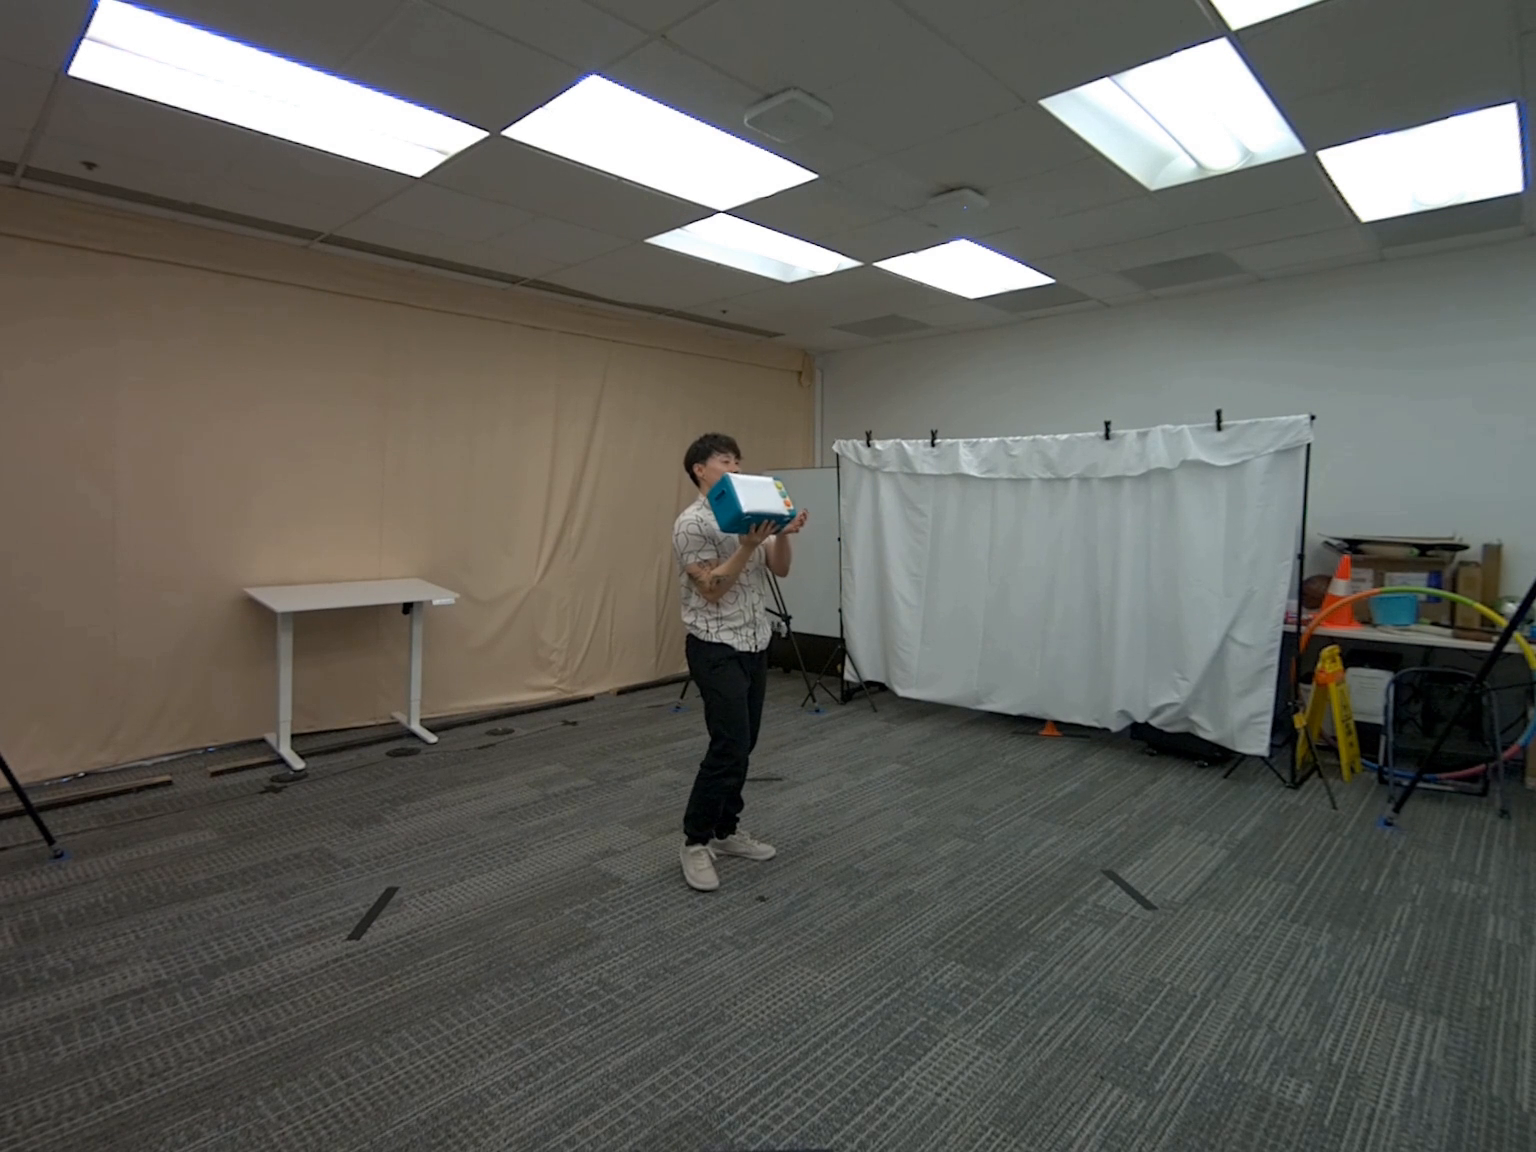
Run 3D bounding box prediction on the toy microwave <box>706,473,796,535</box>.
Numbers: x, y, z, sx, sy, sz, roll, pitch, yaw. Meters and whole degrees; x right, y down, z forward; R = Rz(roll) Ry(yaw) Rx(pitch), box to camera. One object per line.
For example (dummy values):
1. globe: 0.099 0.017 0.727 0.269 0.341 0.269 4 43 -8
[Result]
1. toy microwave: -0.051 -0.254 2.976 0.277 0.188 0.154 1 -33 -40
